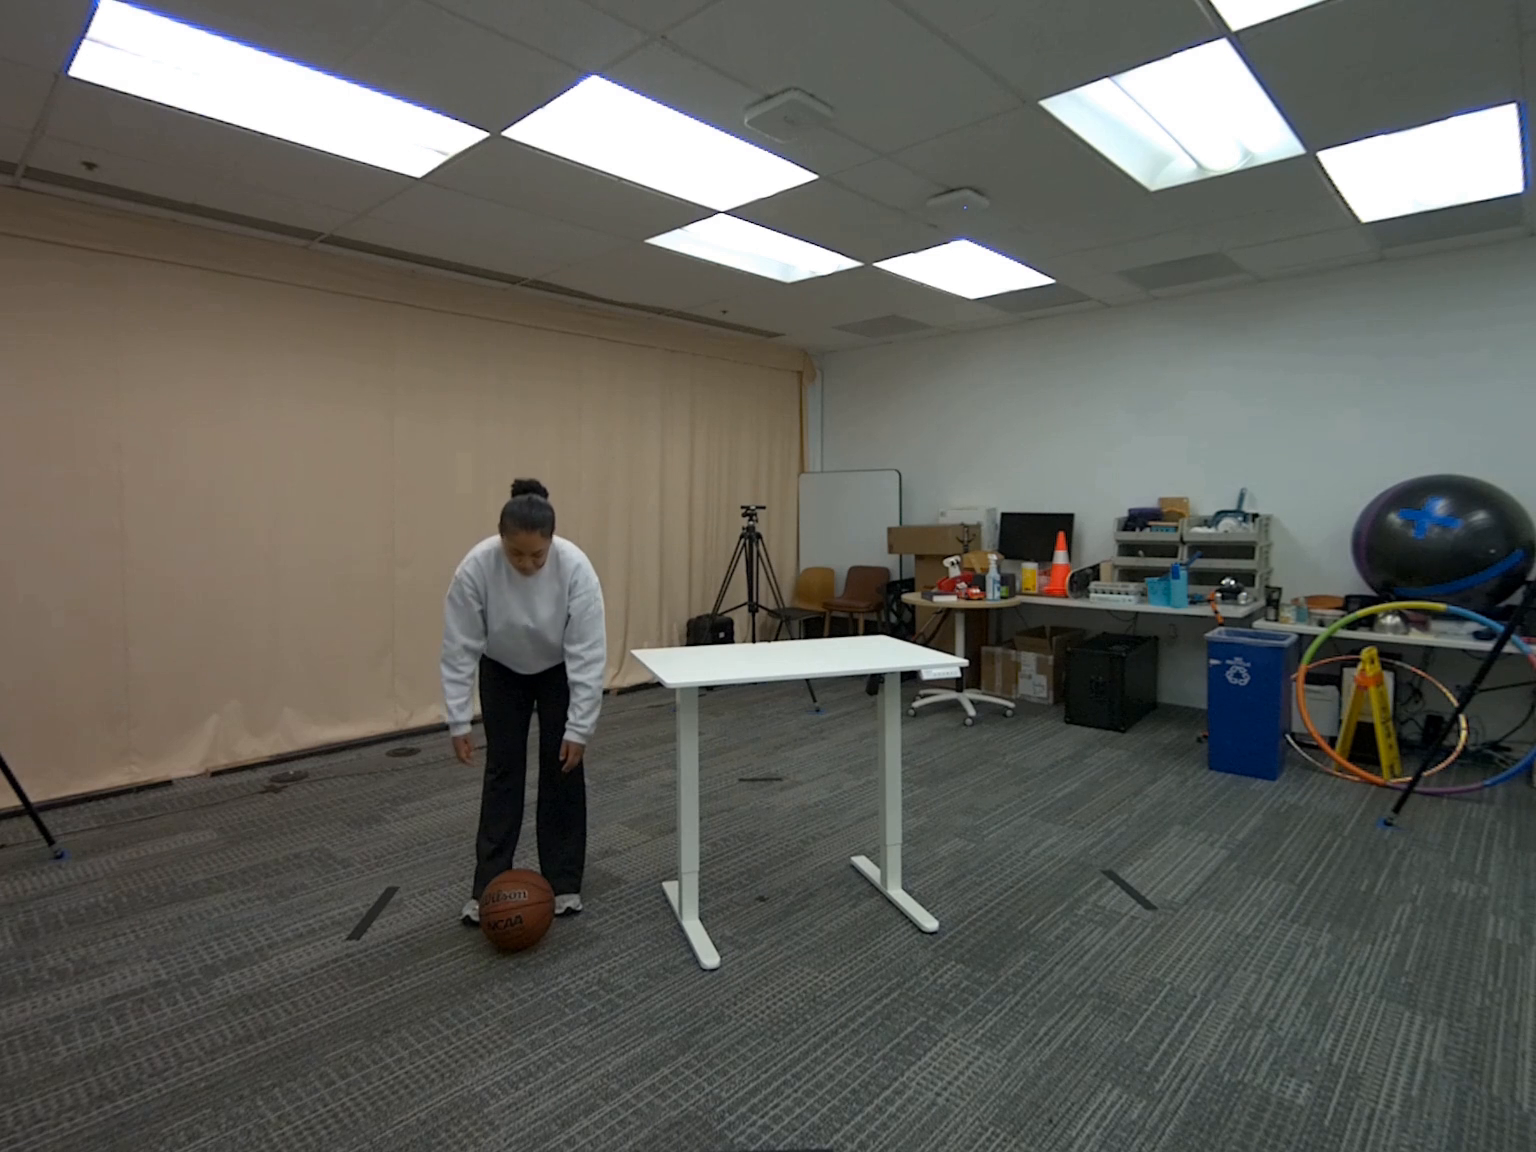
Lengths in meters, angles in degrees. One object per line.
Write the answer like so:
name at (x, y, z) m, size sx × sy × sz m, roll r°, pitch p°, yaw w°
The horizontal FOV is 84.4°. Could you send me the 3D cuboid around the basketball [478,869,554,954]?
basketball at (-0.797, 1.048, 2.673) m, size 0.236 × 0.235 × 0.237 m, roll 0°, pitch 4°, yaw -2°
